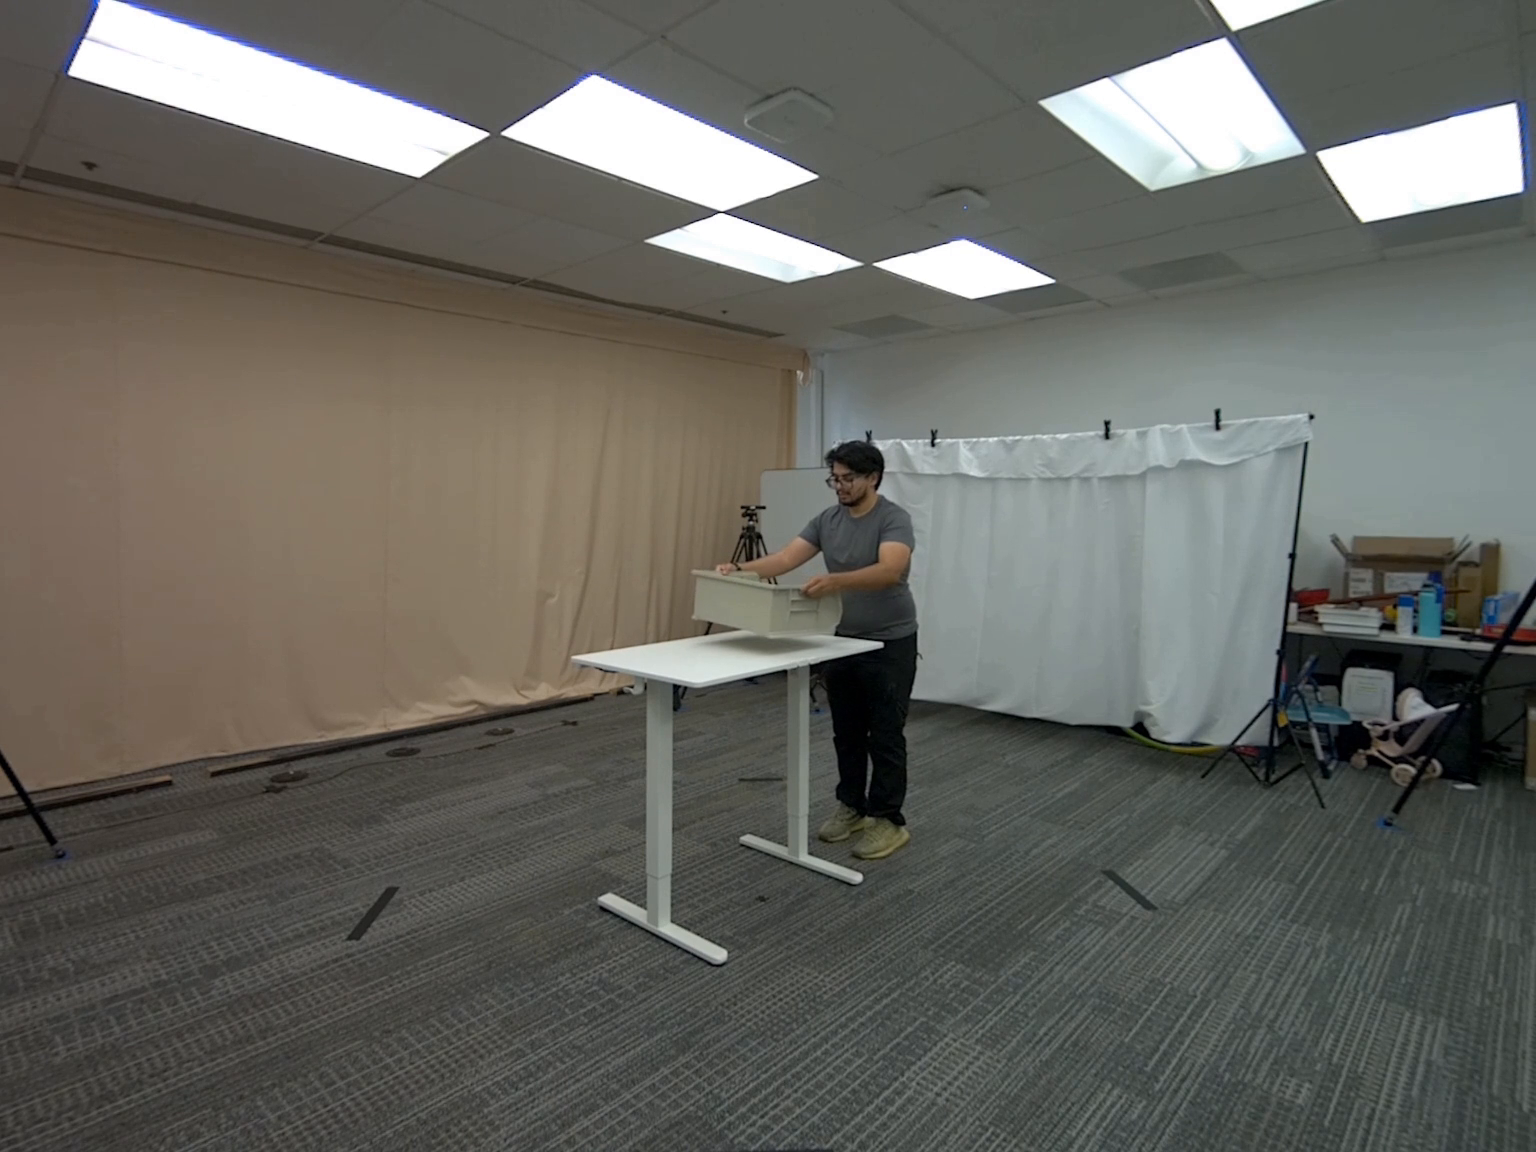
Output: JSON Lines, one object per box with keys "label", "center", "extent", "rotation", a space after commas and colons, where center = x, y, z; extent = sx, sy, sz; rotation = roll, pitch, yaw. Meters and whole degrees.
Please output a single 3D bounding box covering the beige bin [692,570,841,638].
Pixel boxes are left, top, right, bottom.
{"label": "beige bin", "center": [-0.007, 0.100, 3.076], "extent": [0.365, 0.188, 0.437], "rotation": [0, 8, -44]}
